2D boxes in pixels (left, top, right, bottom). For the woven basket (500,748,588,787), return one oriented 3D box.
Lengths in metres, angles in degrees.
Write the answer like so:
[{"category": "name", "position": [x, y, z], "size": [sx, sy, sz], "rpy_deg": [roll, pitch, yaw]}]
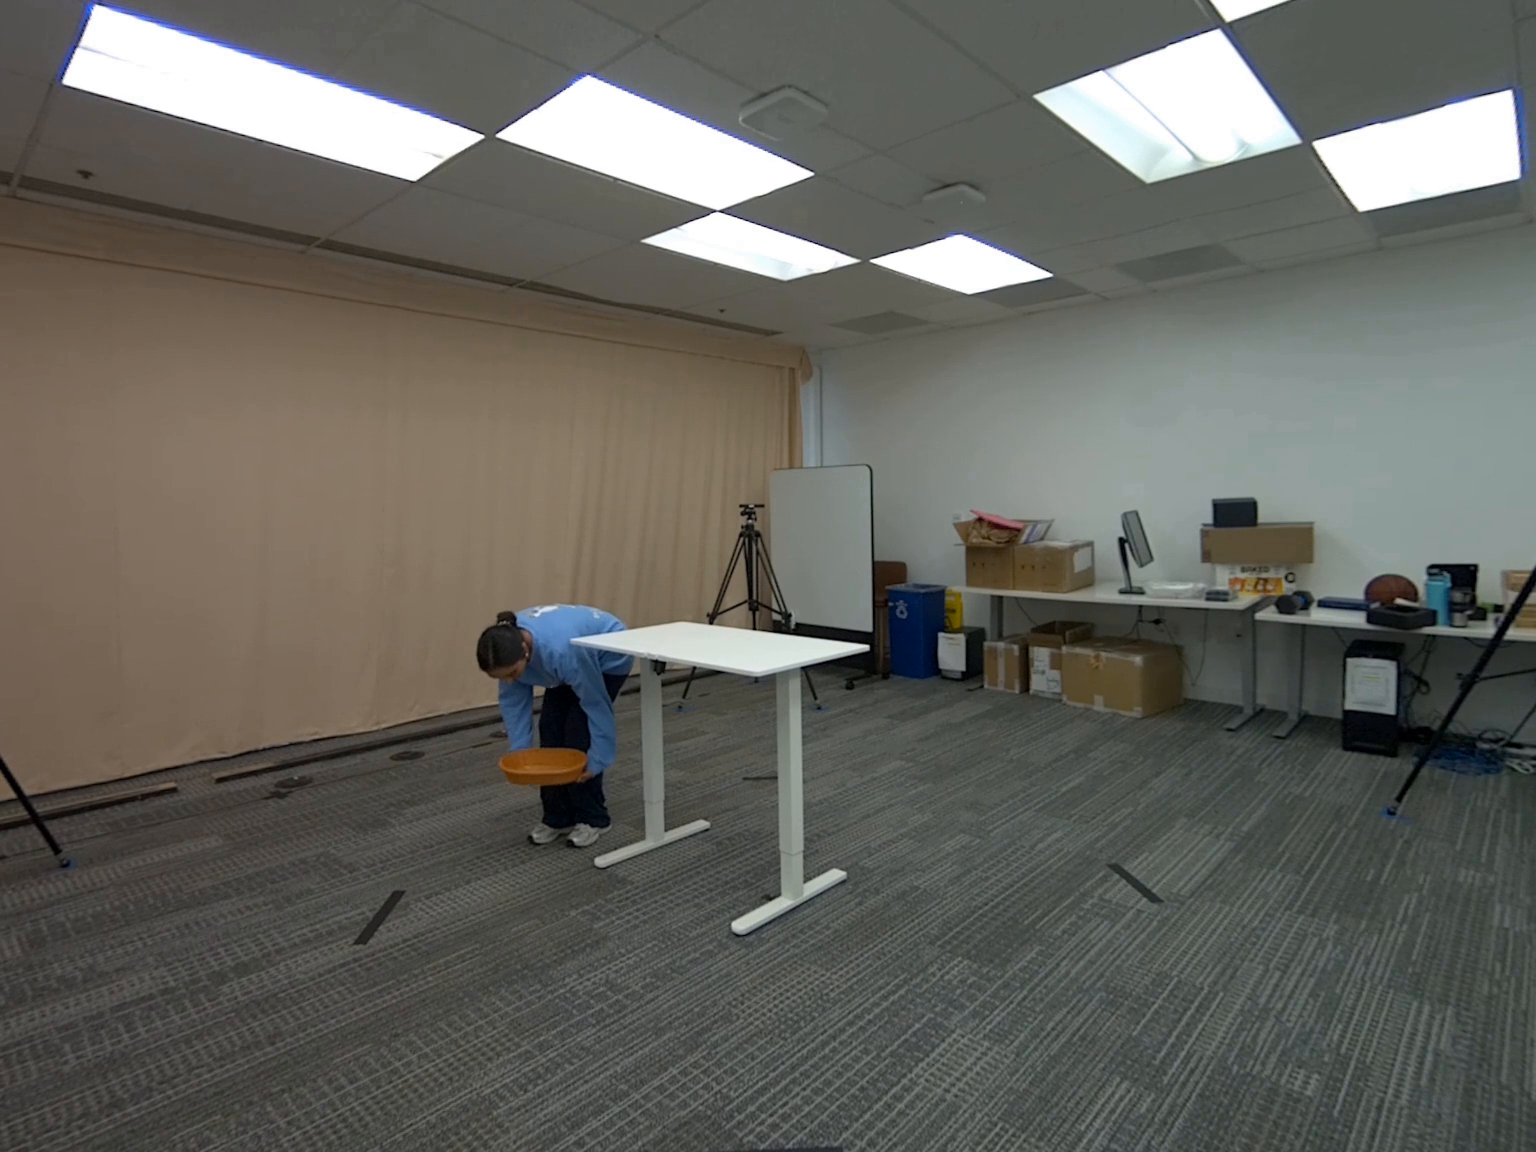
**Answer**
[{"category": "woven basket", "position": [-0.886, 0.750, 3.318], "size": [0.351, 0.073, 0.253], "rpy_deg": [0, 10, 1]}]
